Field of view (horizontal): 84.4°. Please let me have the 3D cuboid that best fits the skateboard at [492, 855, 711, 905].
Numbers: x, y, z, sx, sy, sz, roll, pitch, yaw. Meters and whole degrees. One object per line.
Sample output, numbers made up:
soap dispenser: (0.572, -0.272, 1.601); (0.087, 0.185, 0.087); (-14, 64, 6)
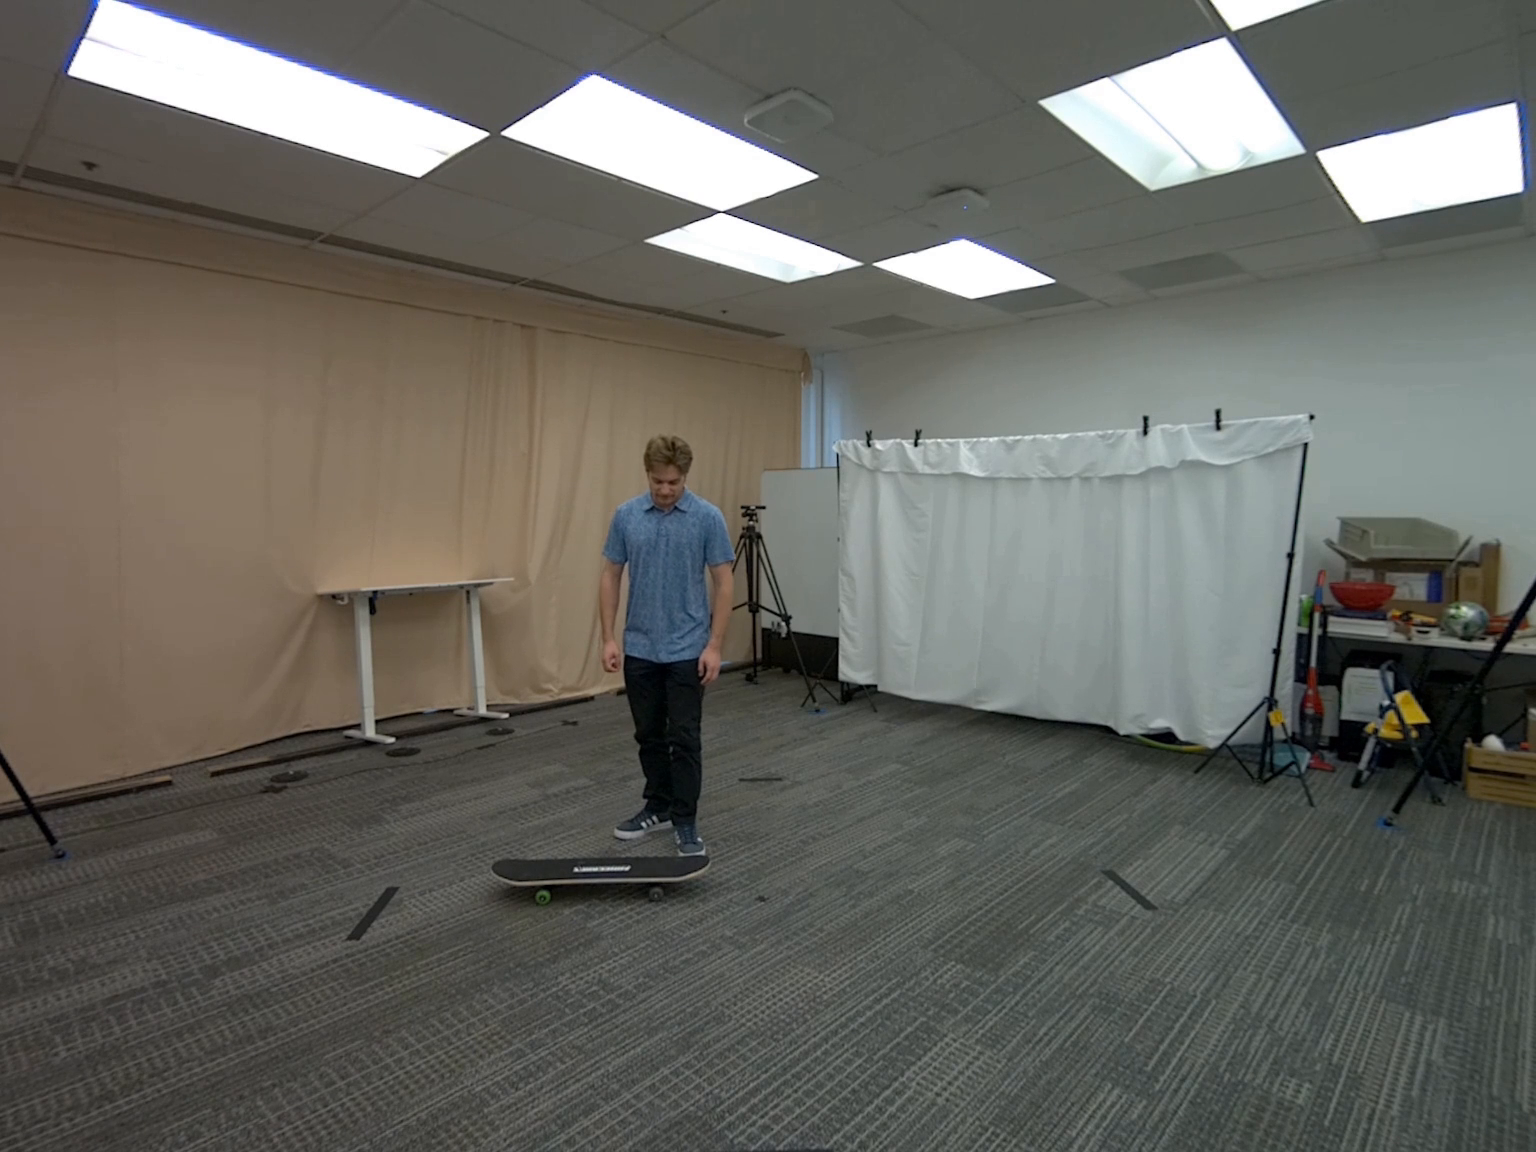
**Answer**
skateboard: (-0.597, 1.086, 3.039); (0.783, 0.110, 0.194); (-1, 4, -3)
